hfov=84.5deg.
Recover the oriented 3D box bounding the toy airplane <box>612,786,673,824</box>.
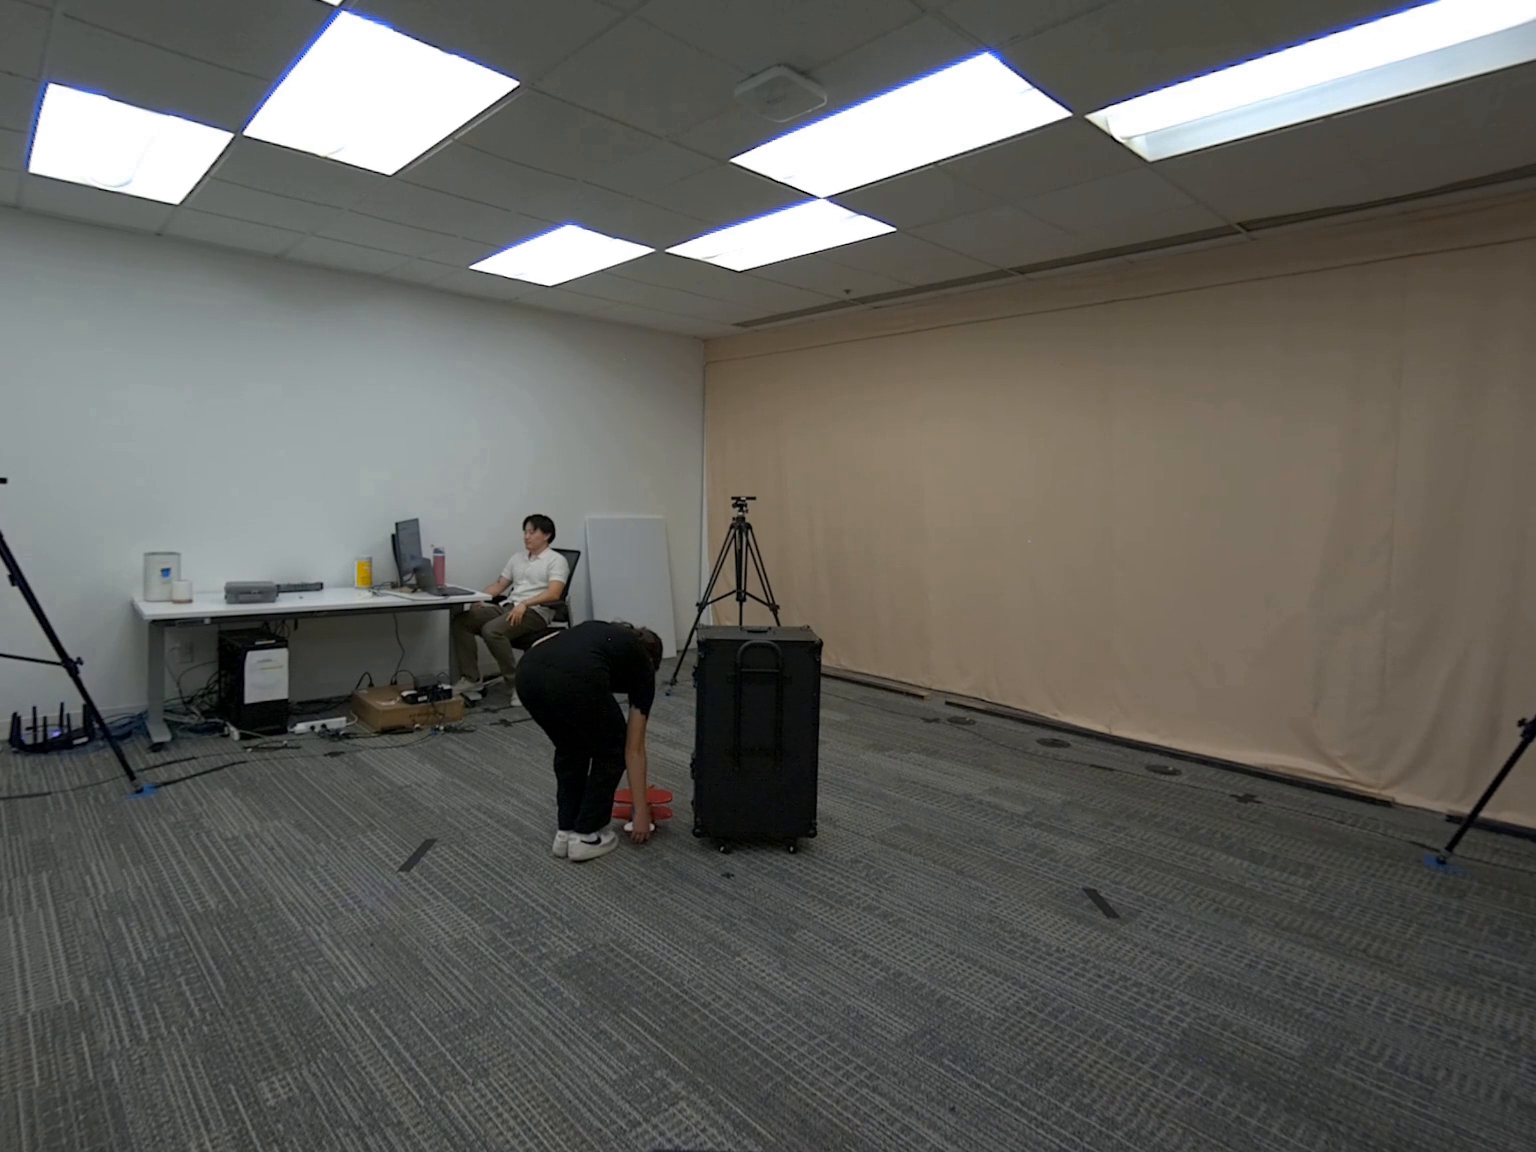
[{"bbox_3d":[-0.514,0.980,3.500,0.246,0.156,0.265,-1,4,-31],"label":"toy airplane"}]
